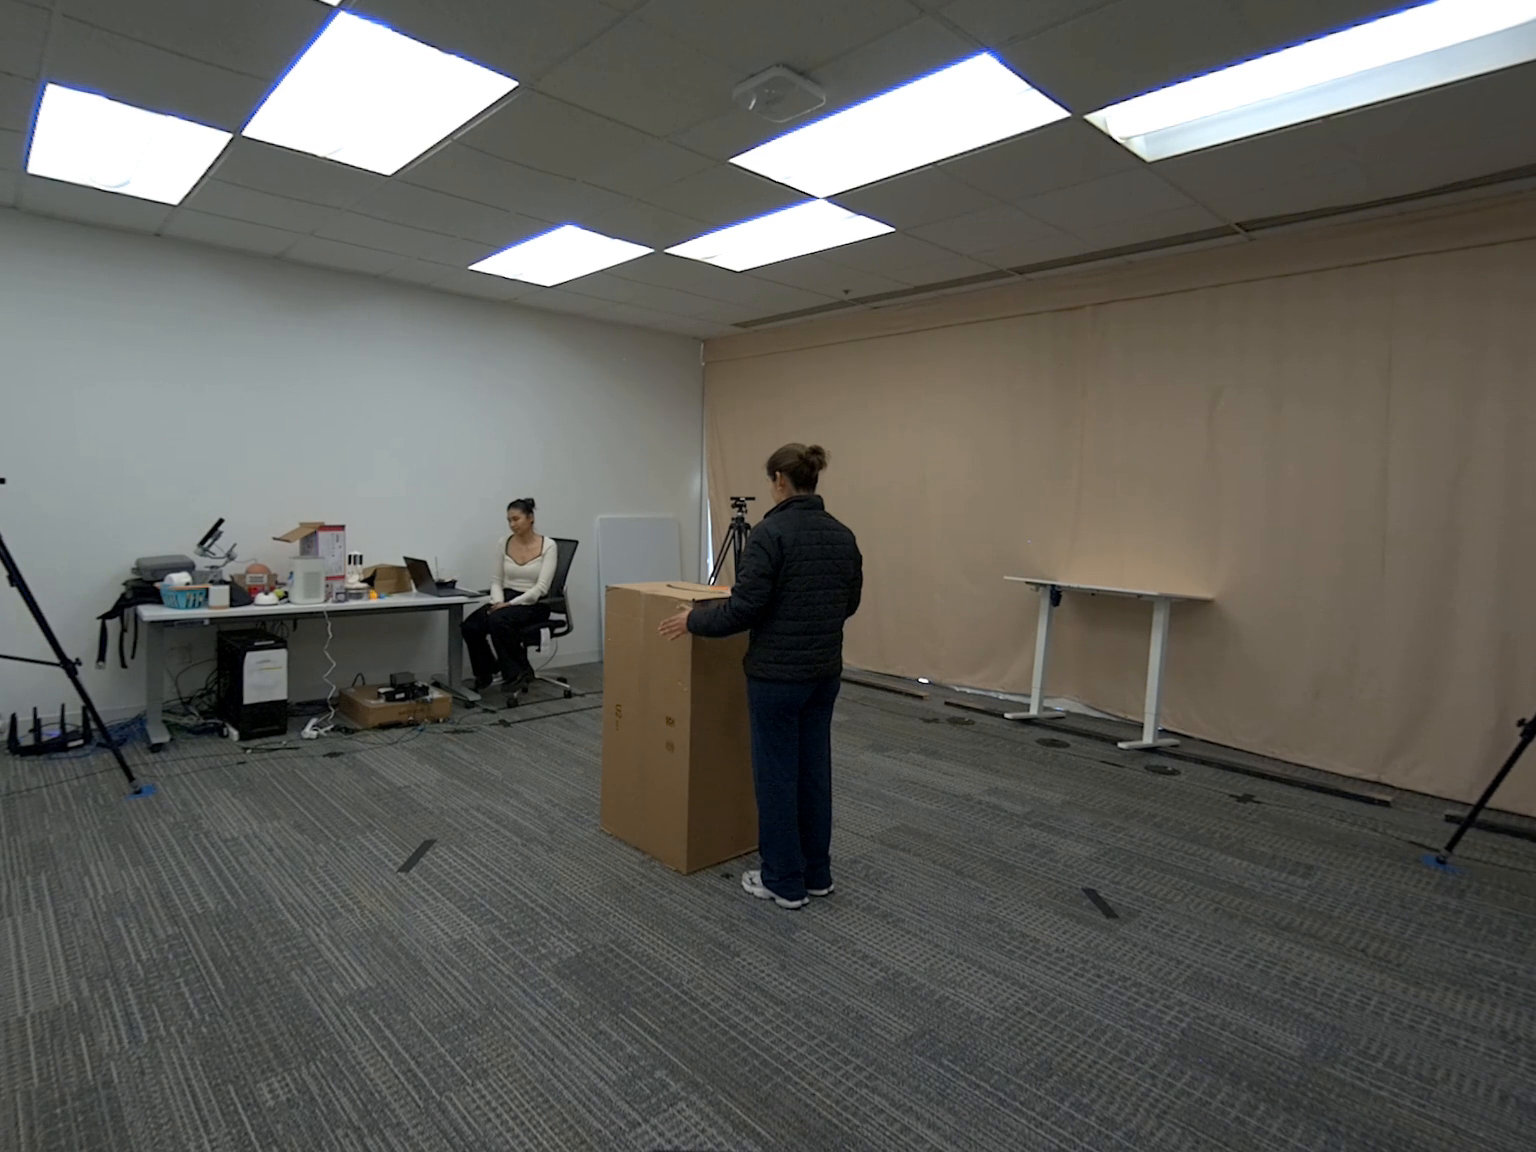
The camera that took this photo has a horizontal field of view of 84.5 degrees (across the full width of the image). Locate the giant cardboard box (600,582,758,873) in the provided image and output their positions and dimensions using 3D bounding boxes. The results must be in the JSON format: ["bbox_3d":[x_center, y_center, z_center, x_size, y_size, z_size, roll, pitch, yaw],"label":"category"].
[{"bbox_3d":[-0.343,0.565,3.416,0.436,1.025,0.599,0,4,-42],"label":"giant cardboard box"}]
